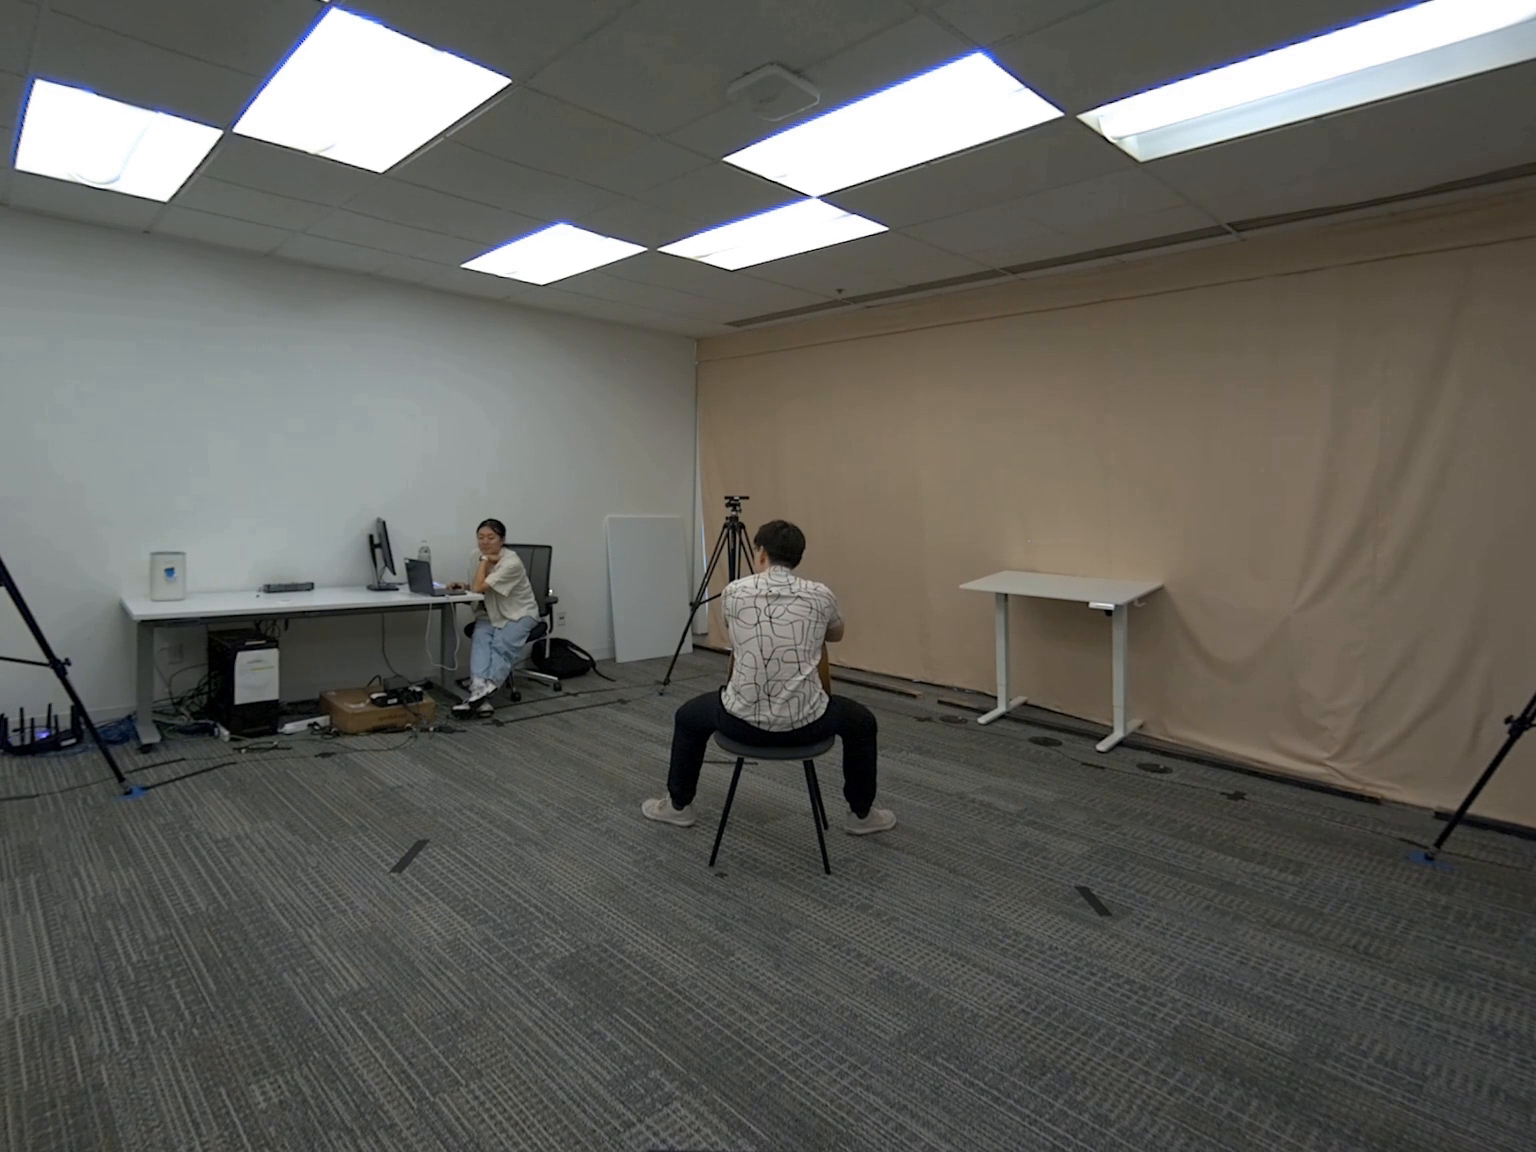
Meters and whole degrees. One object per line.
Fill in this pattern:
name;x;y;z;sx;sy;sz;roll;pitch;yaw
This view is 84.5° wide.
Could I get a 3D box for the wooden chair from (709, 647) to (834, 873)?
wooden chair;0.022;0.670;3.334;0.480;0.878;0.520;2;-1;4
